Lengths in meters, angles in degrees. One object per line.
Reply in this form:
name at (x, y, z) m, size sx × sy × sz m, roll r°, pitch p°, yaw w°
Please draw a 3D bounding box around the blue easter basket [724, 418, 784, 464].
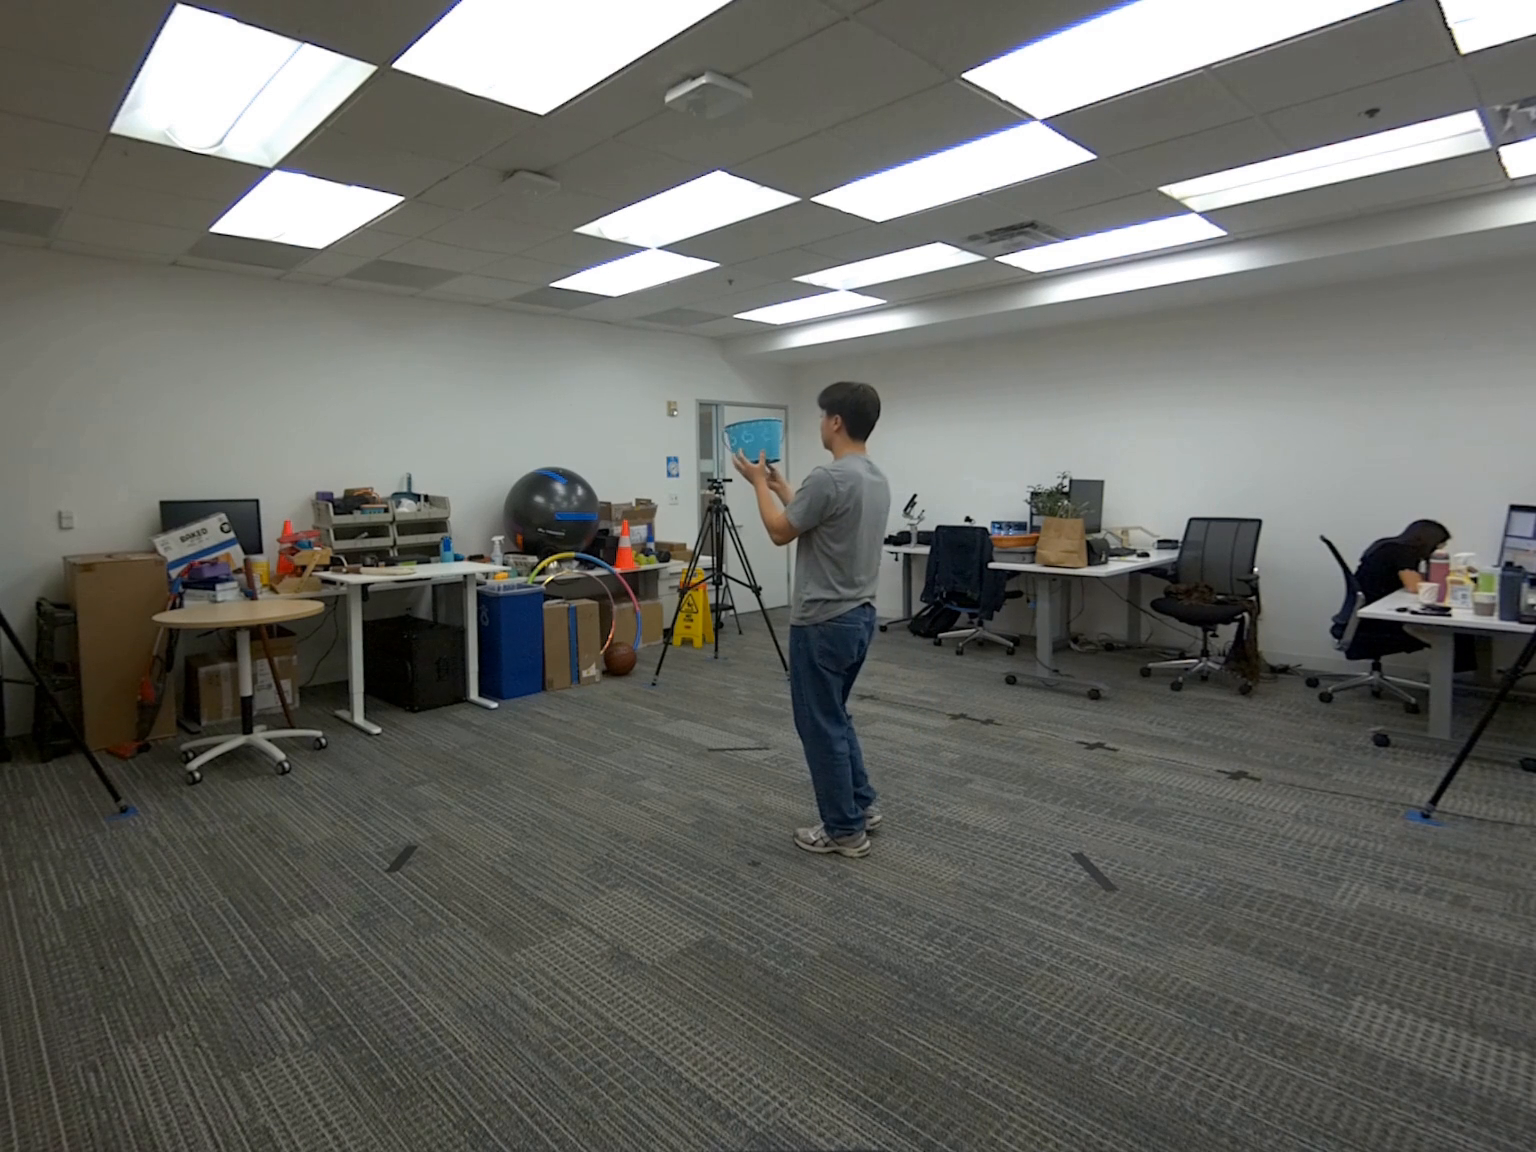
blue easter basket at (-0.033, -0.525, 3.364) m, size 0.243 × 0.156 × 0.243 m, roll -7°, pitch 0°, yaw -2°
